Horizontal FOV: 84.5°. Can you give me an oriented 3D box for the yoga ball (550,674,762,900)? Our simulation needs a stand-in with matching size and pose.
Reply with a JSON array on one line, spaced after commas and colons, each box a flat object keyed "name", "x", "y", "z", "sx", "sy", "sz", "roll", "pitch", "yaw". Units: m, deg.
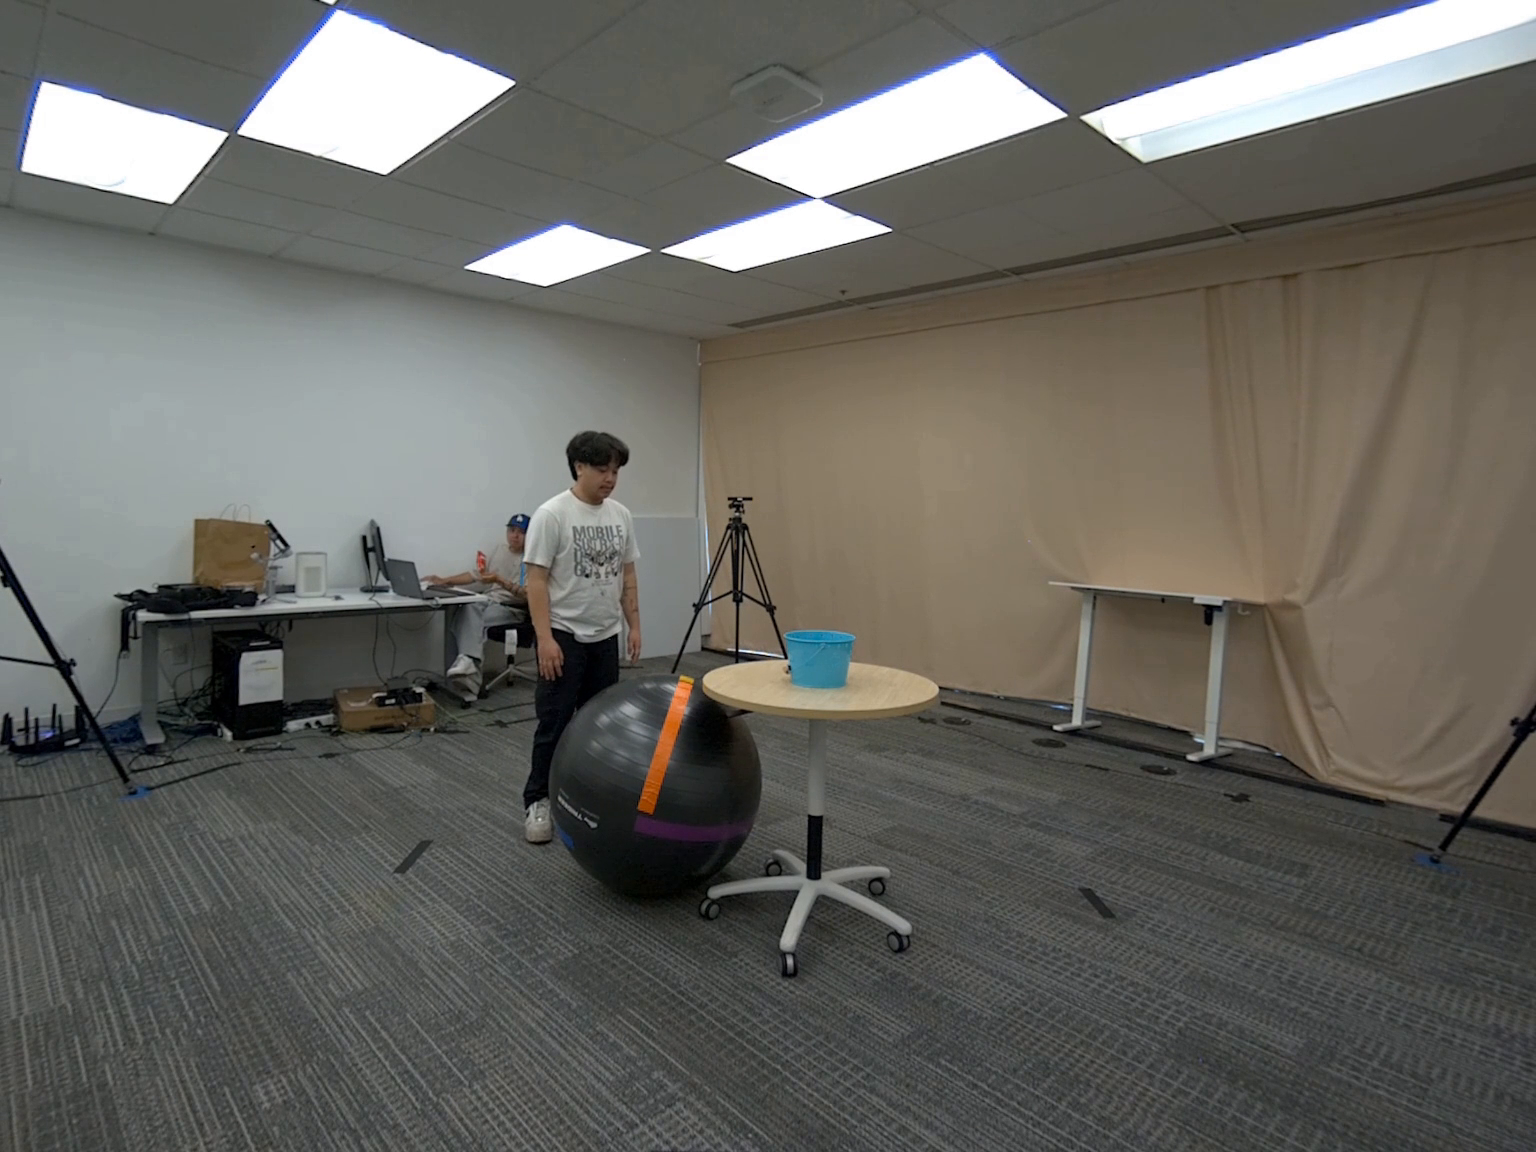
[{"name": "yoga ball", "x": -0.408, "y": 0.739, "z": 3.012, "sx": 0.757, "sy": 0.756, "sz": 0.760, "roll": 1, "pitch": 4, "yaw": -1}]
